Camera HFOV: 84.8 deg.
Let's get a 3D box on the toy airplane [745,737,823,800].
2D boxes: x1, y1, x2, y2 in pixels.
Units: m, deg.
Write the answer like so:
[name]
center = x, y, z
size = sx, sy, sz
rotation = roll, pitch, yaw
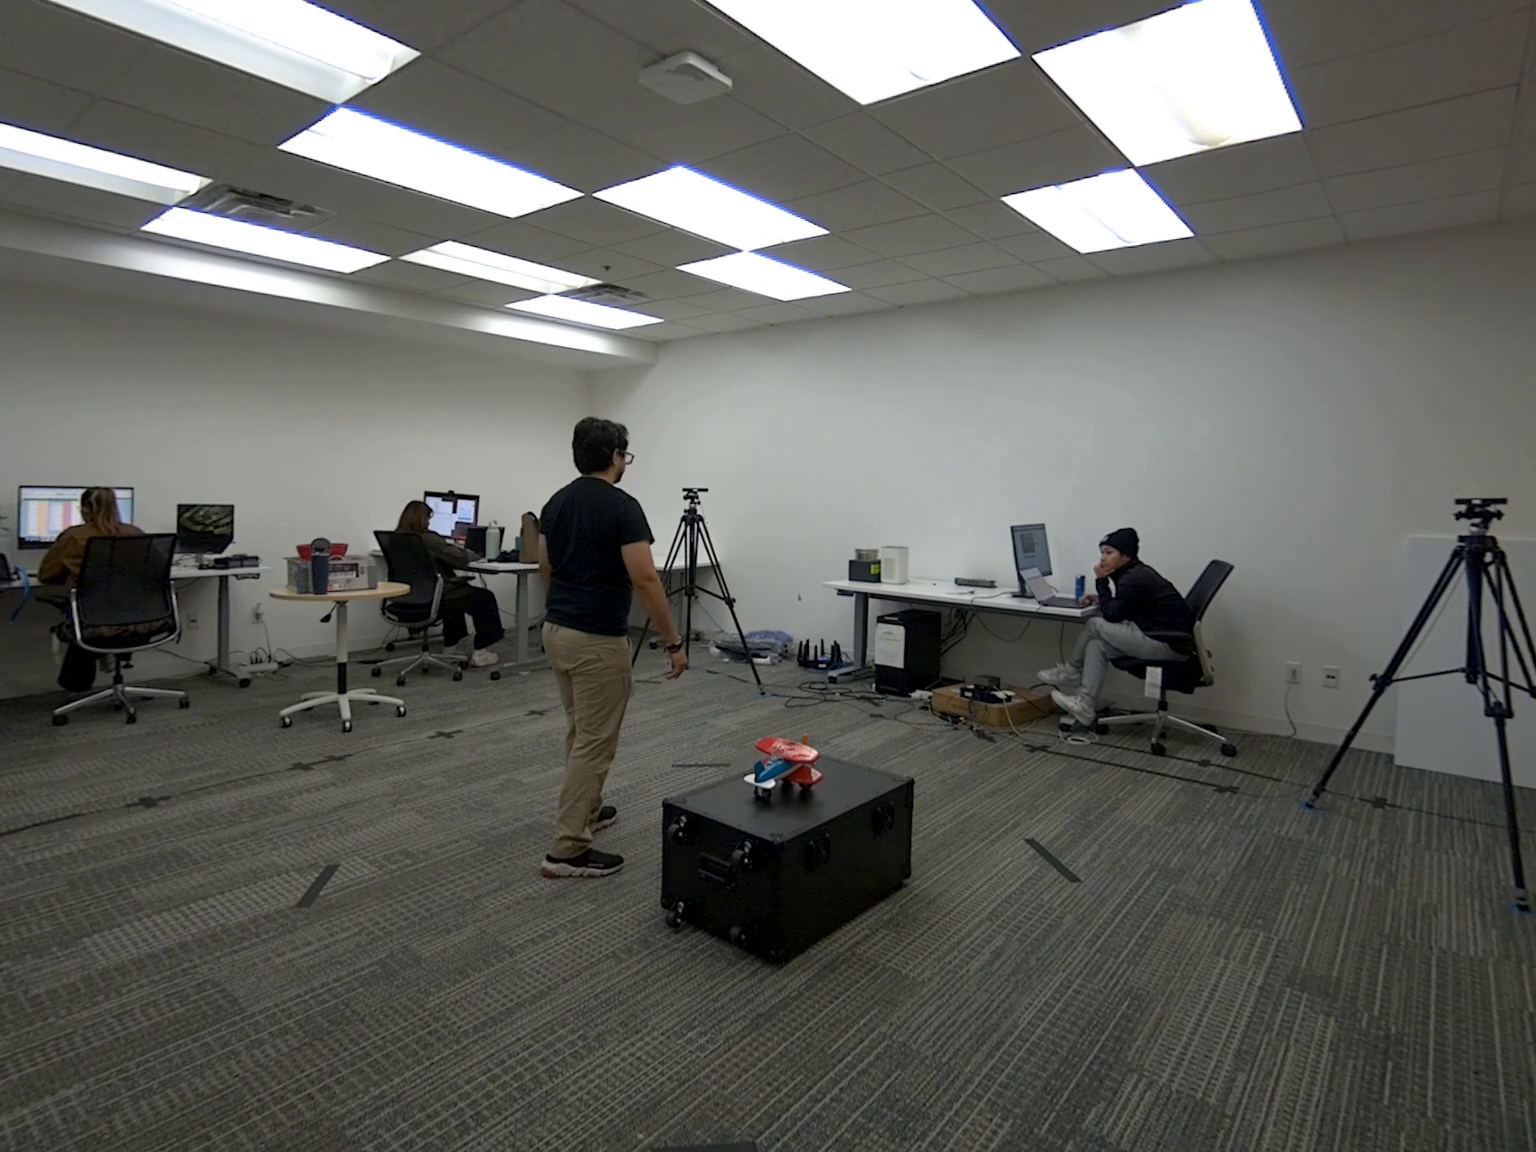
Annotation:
[toy airplane]
center = 0.048, 0.648, 2.859
size = 0.255, 0.156, 0.255
rotation = 3, 4, 15
